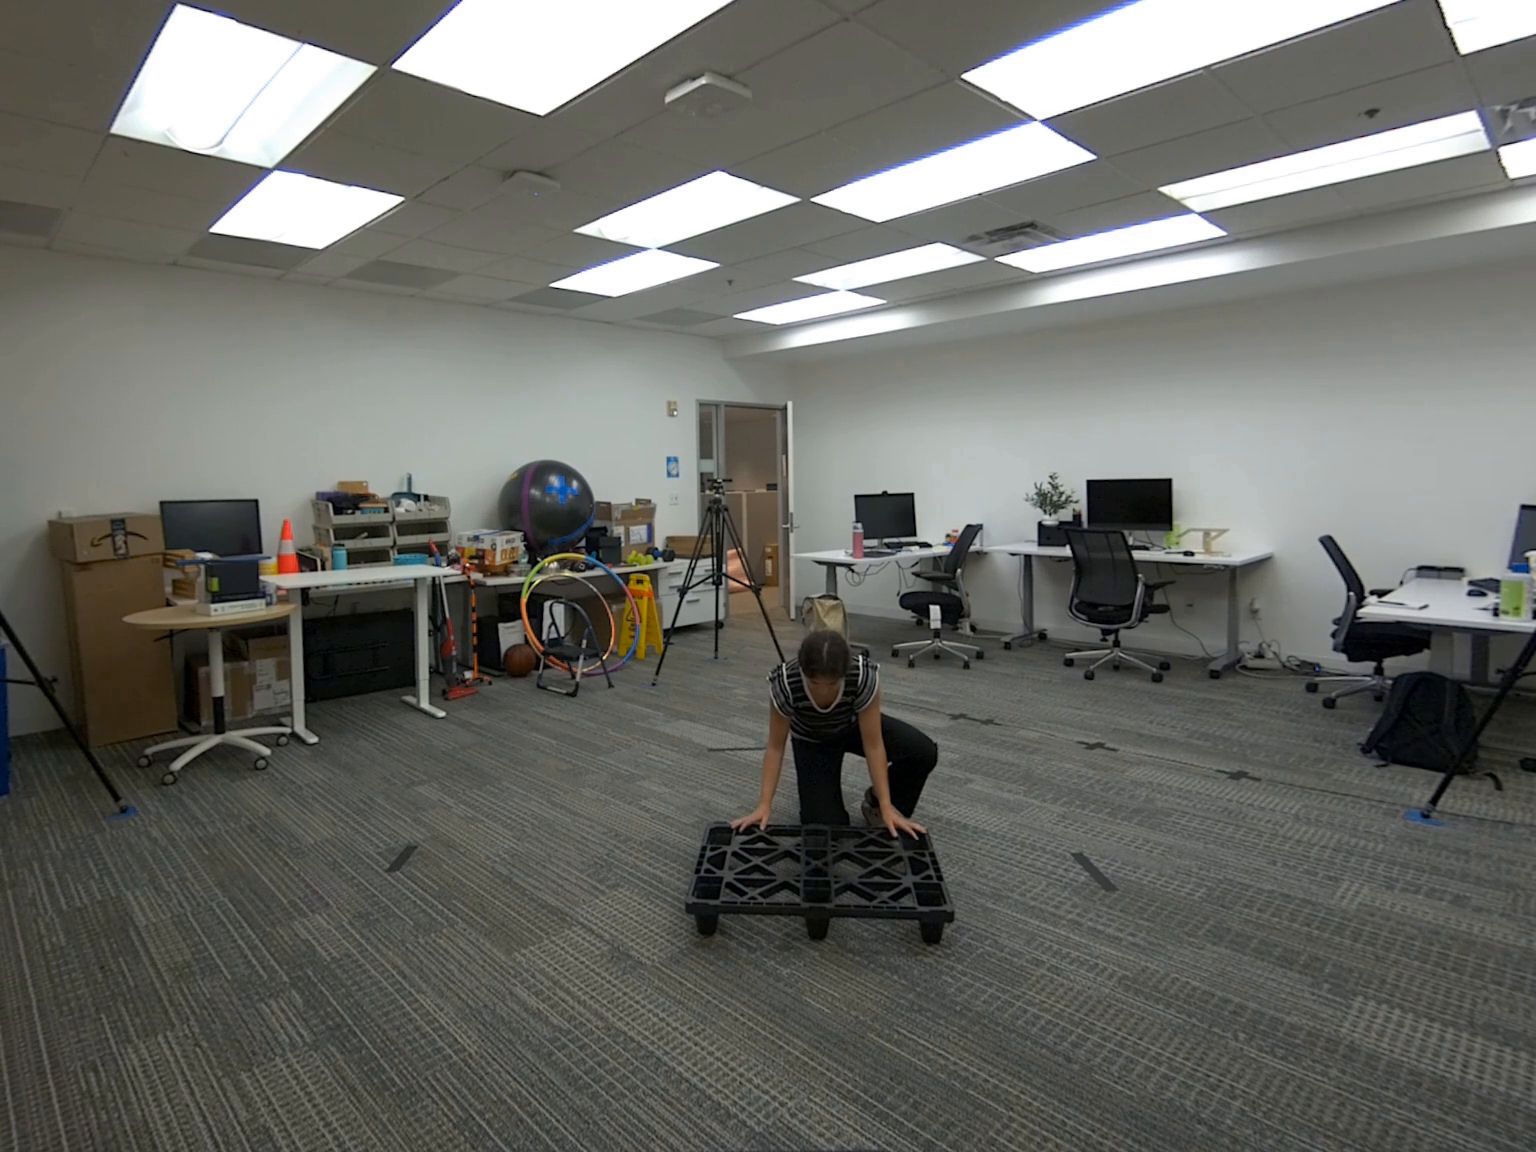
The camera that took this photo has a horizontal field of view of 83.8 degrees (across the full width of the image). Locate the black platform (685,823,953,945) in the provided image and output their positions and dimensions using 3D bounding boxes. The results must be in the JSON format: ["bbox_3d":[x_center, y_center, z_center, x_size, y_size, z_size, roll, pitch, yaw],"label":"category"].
[{"bbox_3d":[0.156,1.007,2.822,0.810,0.143,0.604,0,6,5],"label":"black platform"}]
